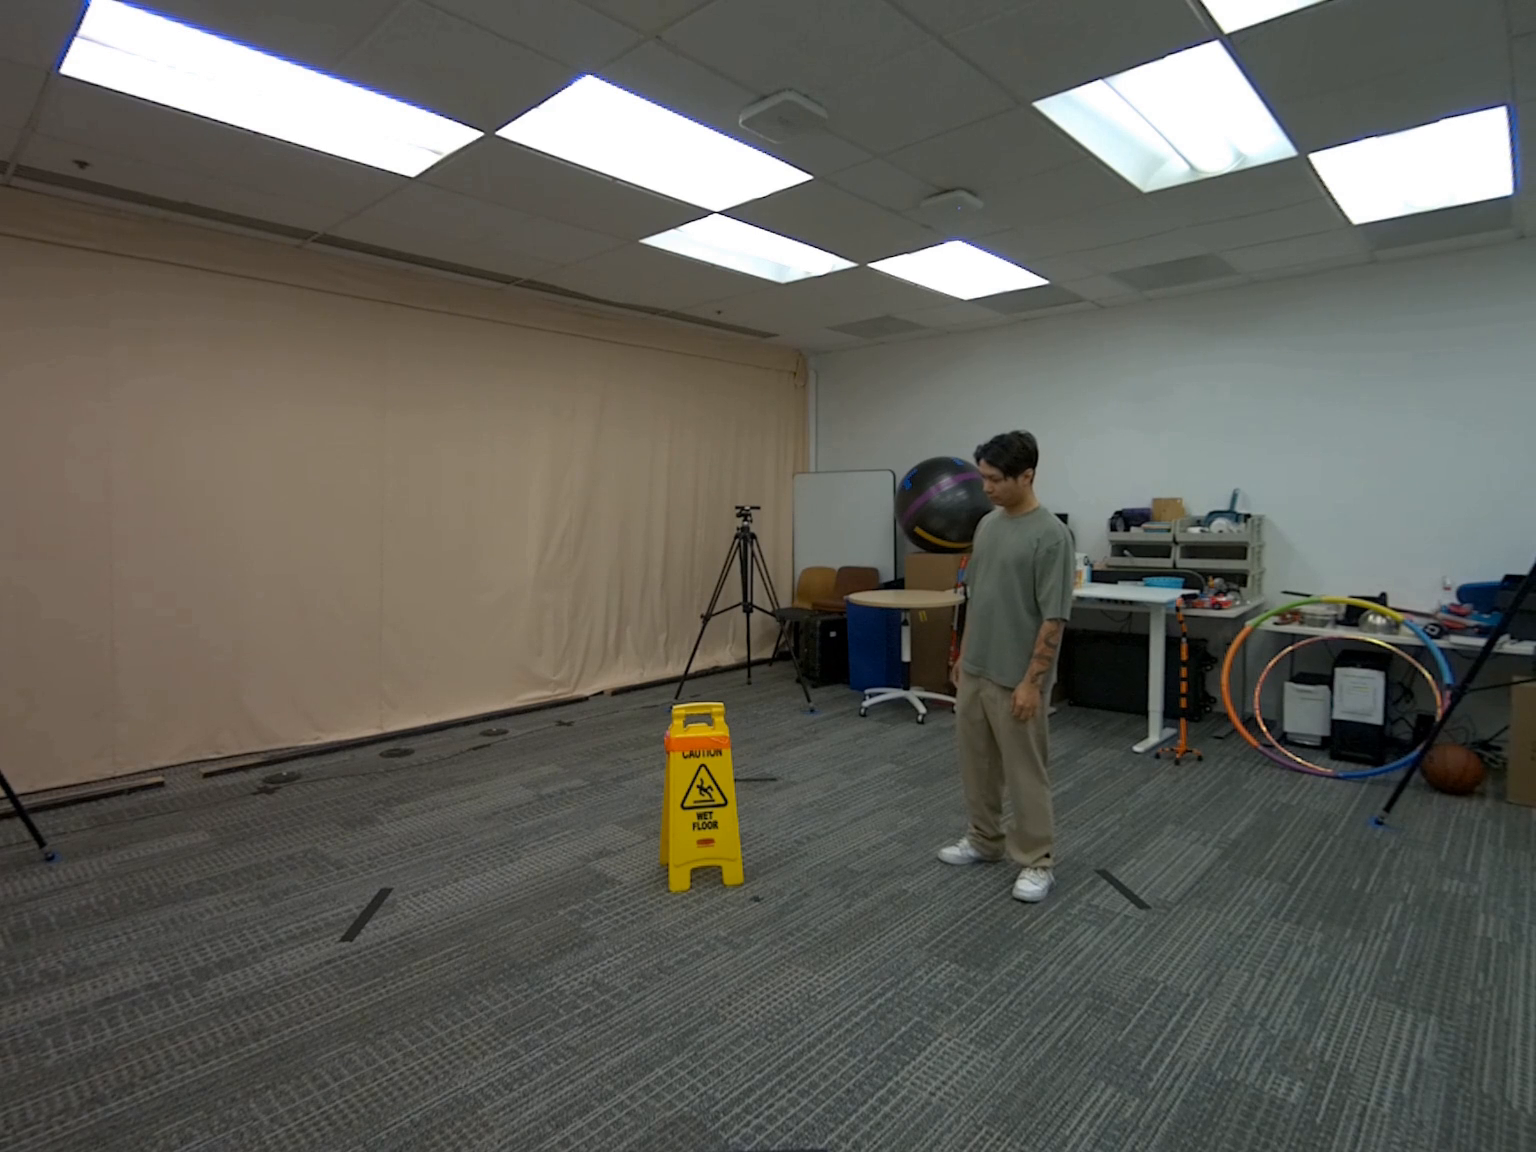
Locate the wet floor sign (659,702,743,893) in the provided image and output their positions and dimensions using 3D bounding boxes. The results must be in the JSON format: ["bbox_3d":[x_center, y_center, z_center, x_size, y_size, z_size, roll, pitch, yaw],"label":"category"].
[{"bbox_3d":[-0.262,0.805,3.181,0.279,0.645,0.294,-1,2,-13],"label":"wet floor sign"}]
